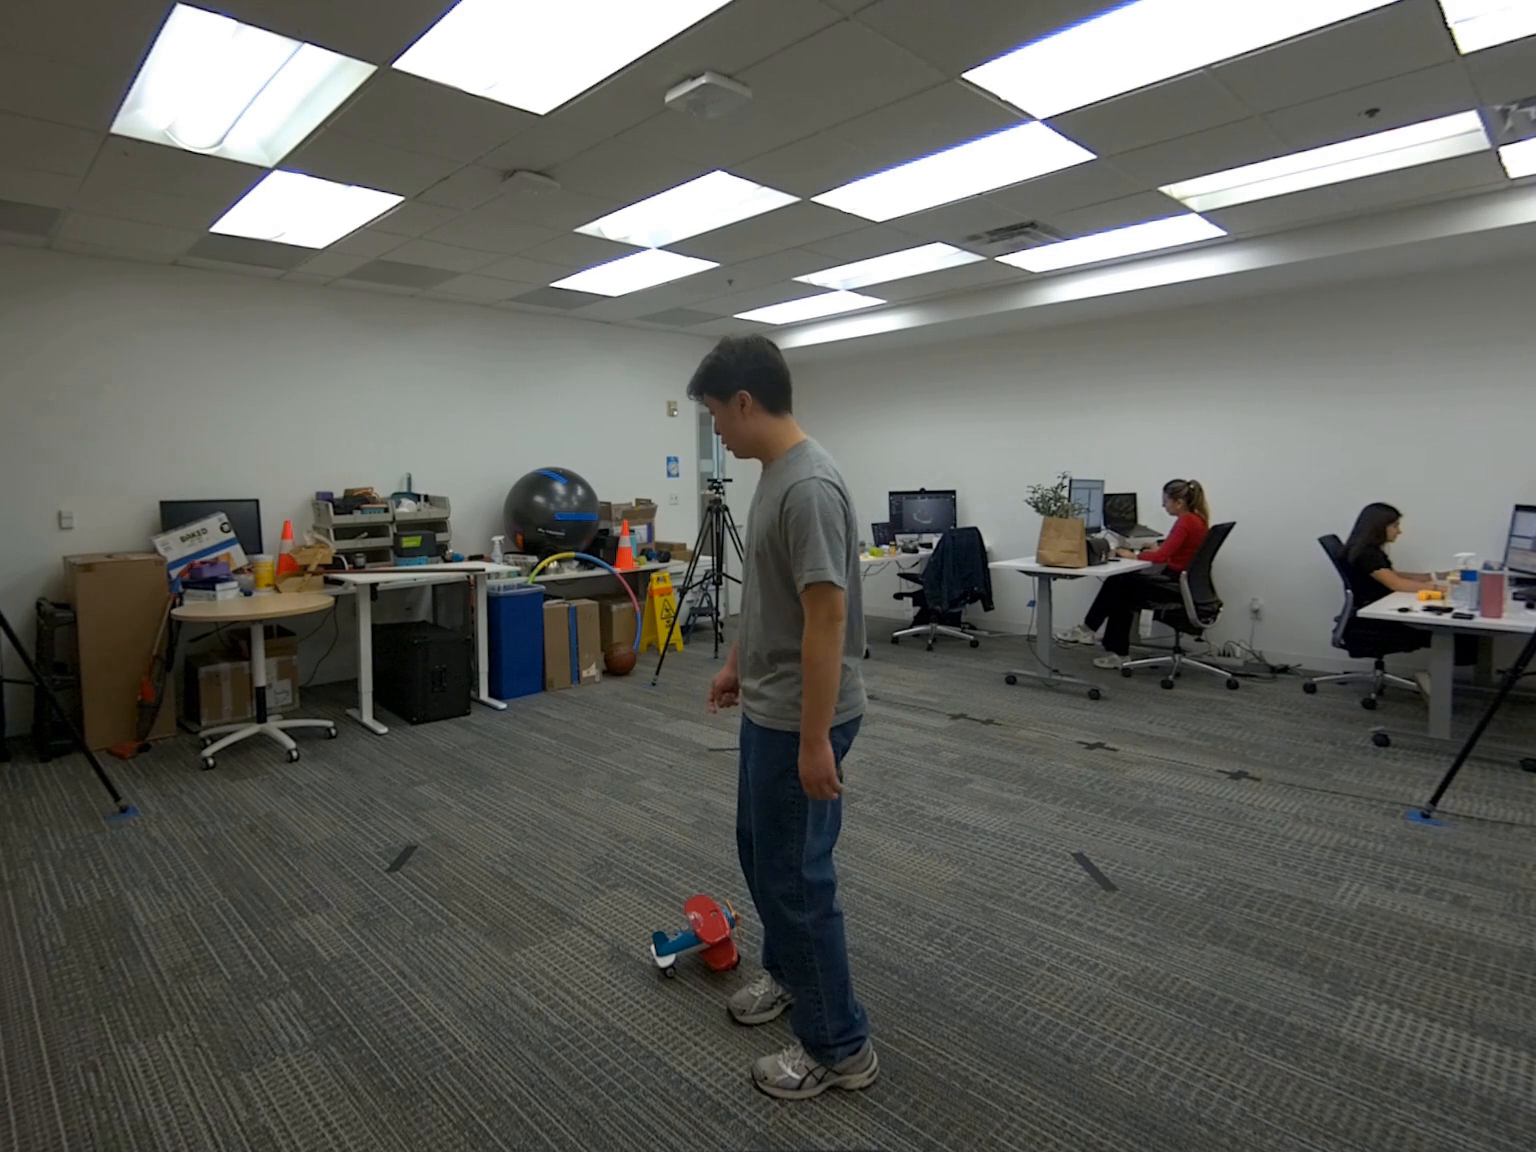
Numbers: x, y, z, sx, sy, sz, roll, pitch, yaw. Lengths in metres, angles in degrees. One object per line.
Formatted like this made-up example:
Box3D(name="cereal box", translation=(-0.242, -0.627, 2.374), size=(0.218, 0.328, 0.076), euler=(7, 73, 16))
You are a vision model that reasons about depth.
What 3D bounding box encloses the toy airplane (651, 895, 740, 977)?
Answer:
Box3D(name="toy airplane", translation=(-0.190, 1.057, 2.437), size=(0.259, 0.156, 0.252), euler=(4, 7, 42))
